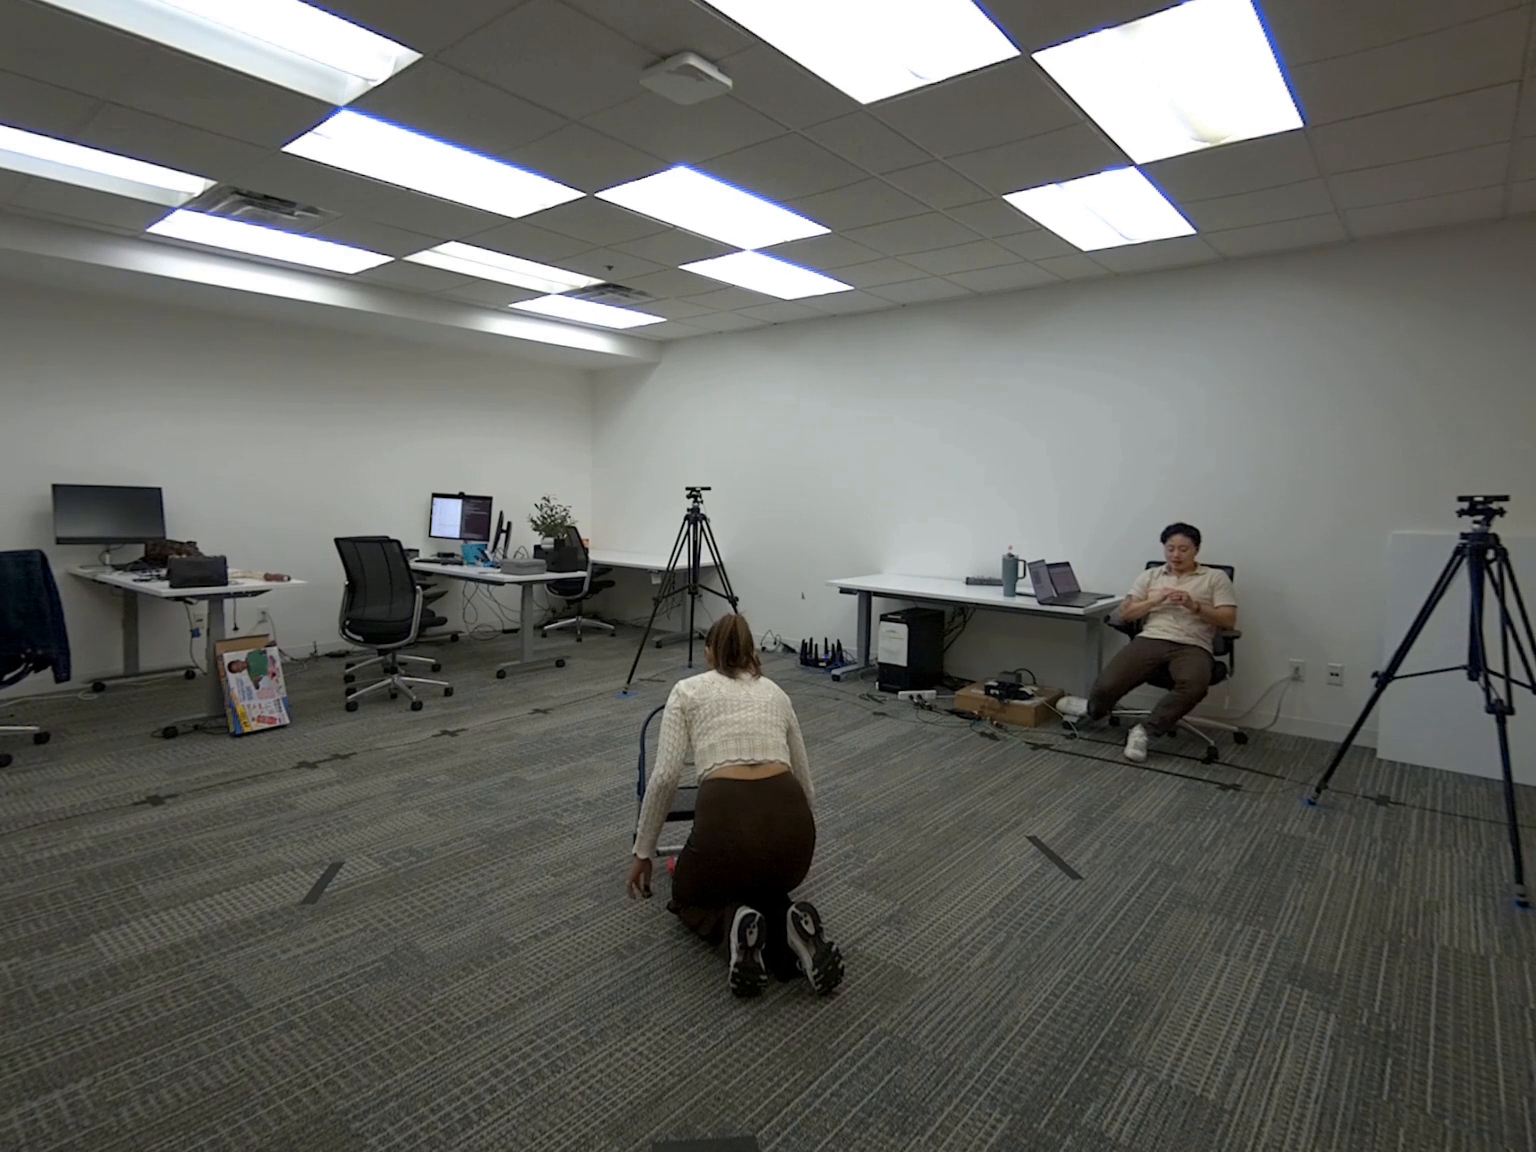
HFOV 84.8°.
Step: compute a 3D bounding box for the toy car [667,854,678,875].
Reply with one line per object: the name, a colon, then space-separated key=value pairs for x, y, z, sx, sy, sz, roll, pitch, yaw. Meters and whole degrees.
toy car: x=-0.198 y=1.035 z=3.076 sx=0.251 sy=0.083 sz=0.133 roll=-7 pitch=6 yaw=-15
